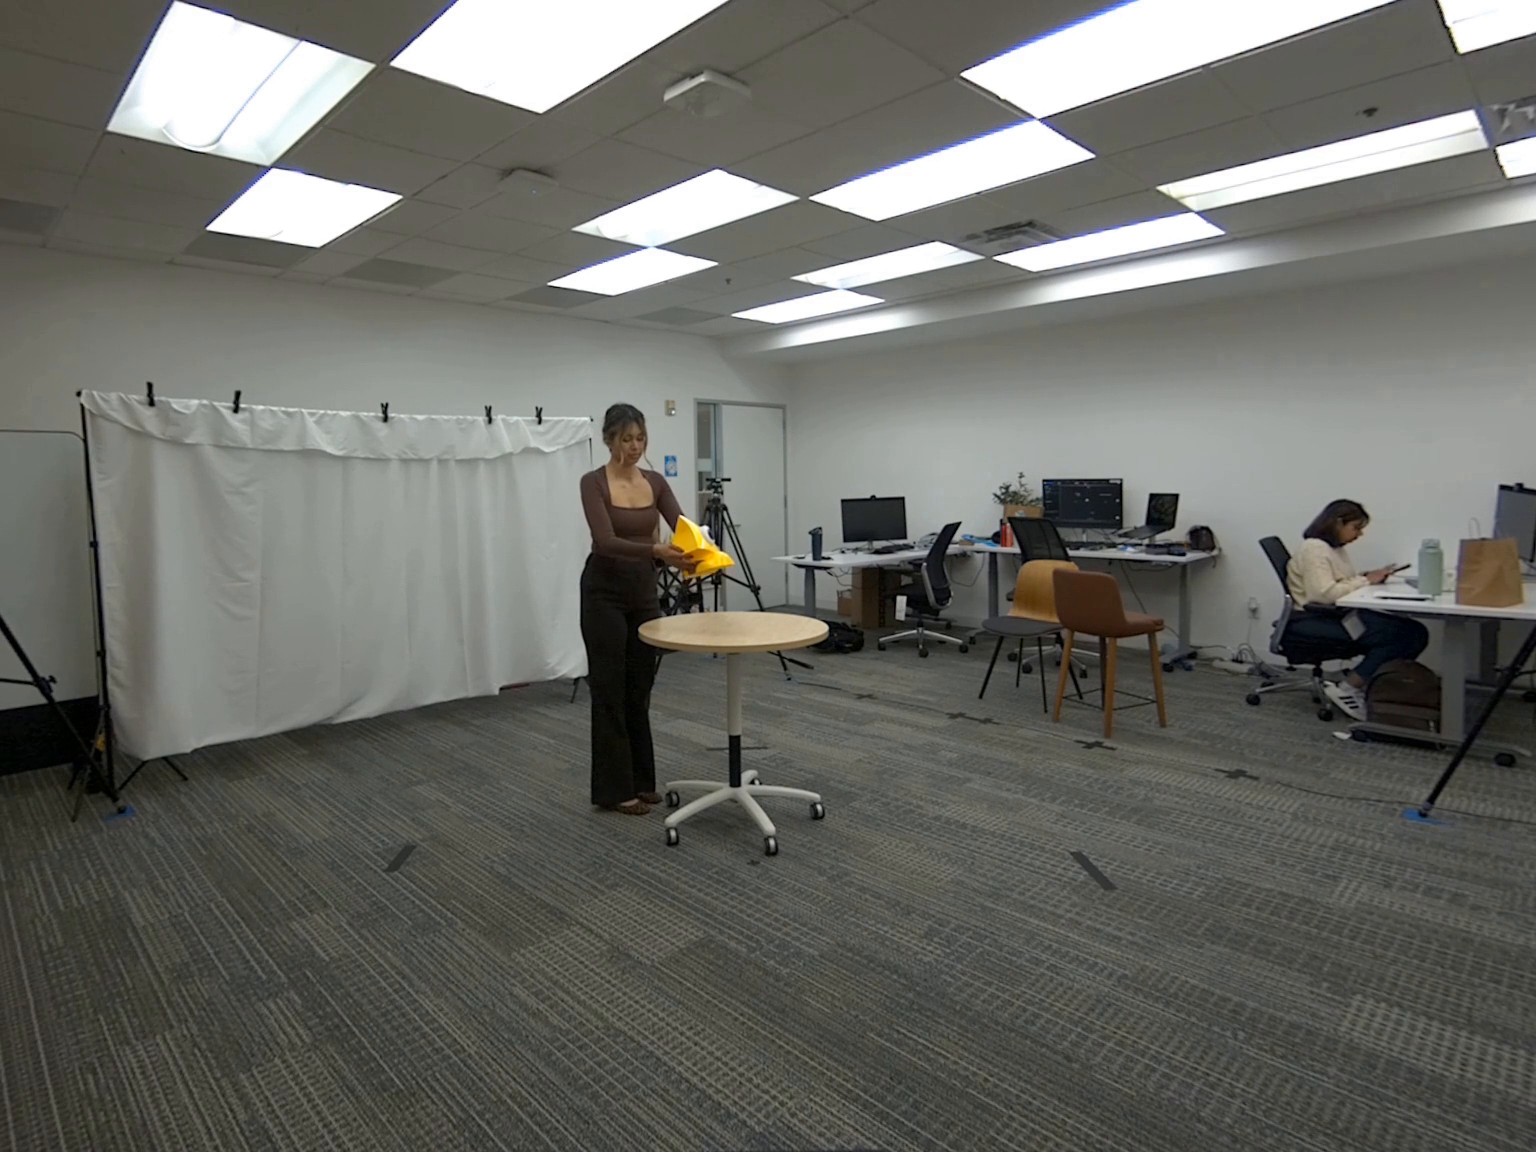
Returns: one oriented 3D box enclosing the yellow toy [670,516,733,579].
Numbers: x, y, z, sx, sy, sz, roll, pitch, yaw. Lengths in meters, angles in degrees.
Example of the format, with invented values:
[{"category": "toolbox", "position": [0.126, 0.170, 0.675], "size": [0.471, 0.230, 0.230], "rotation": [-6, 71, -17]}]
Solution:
[{"category": "yellow toy", "position": [-0.267, -0.127, 3.260], "size": [0.188, 0.232, 0.208], "rotation": [-10, -8, -42]}]
